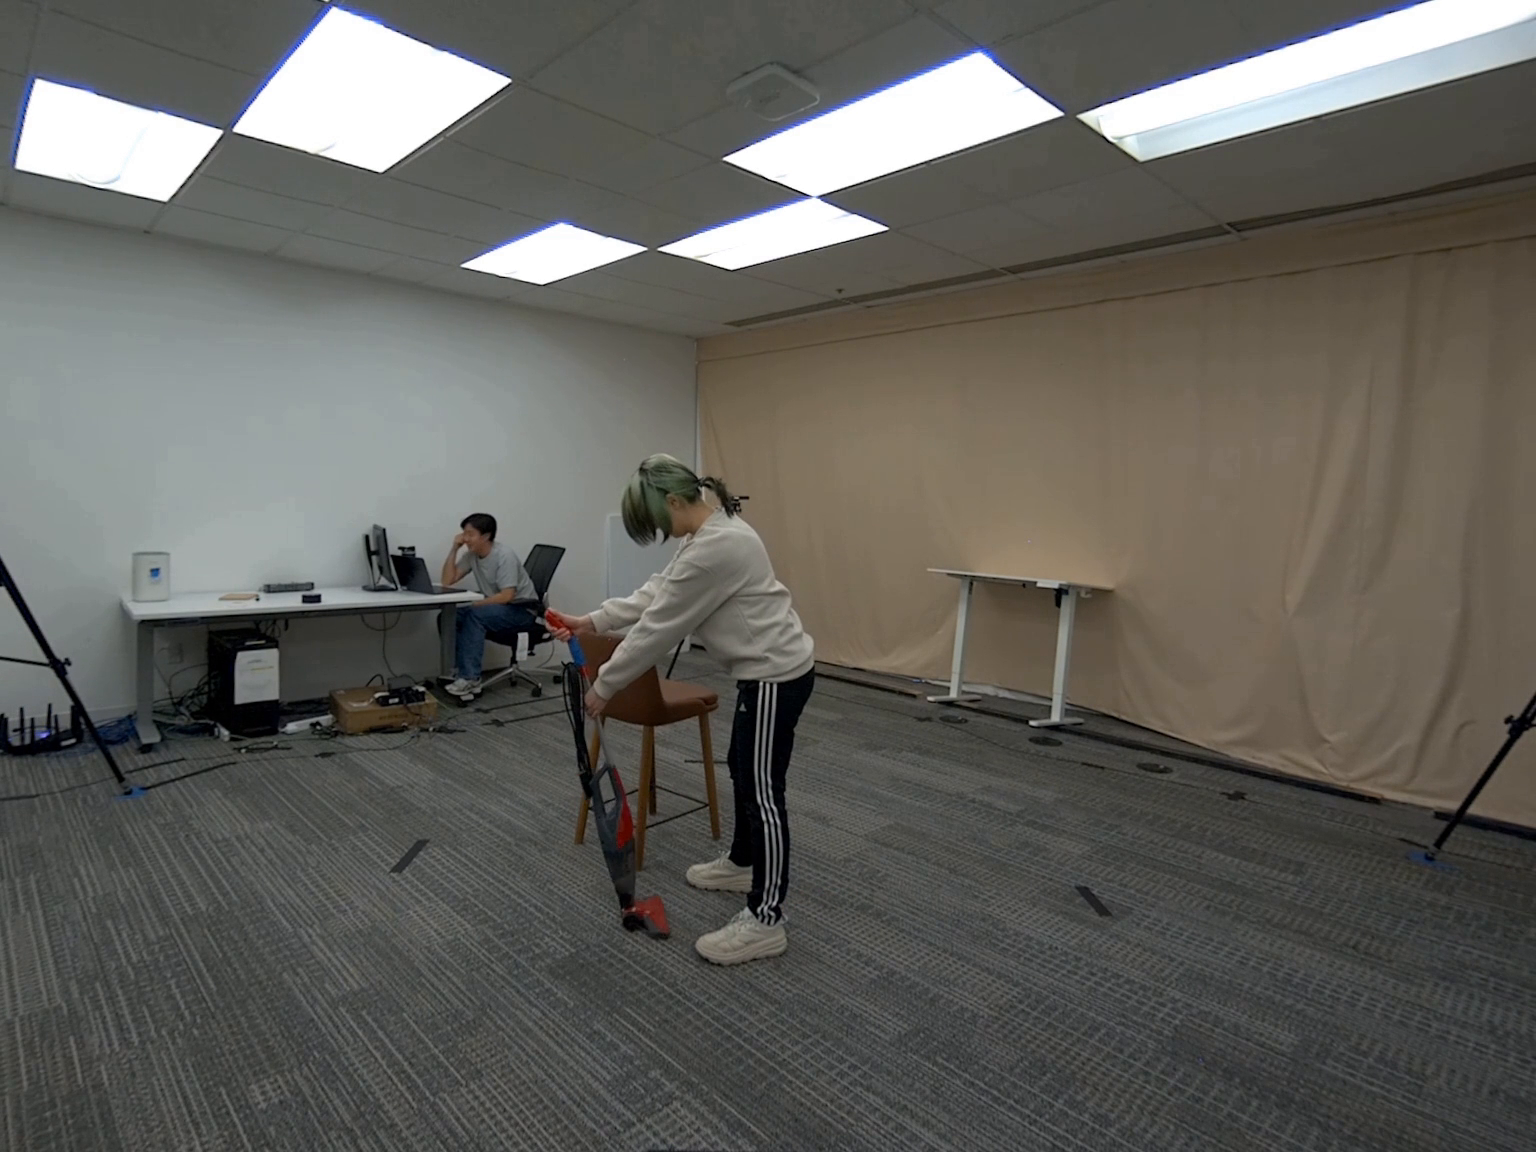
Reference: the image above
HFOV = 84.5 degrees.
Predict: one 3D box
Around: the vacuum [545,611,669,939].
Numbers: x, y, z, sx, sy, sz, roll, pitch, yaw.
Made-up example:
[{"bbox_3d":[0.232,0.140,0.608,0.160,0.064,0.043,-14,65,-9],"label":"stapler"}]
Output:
[{"bbox_3d":[-0.562,0.639,2.712,0.143,1.044,0.255,-20,5,-15],"label":"vacuum"}]
